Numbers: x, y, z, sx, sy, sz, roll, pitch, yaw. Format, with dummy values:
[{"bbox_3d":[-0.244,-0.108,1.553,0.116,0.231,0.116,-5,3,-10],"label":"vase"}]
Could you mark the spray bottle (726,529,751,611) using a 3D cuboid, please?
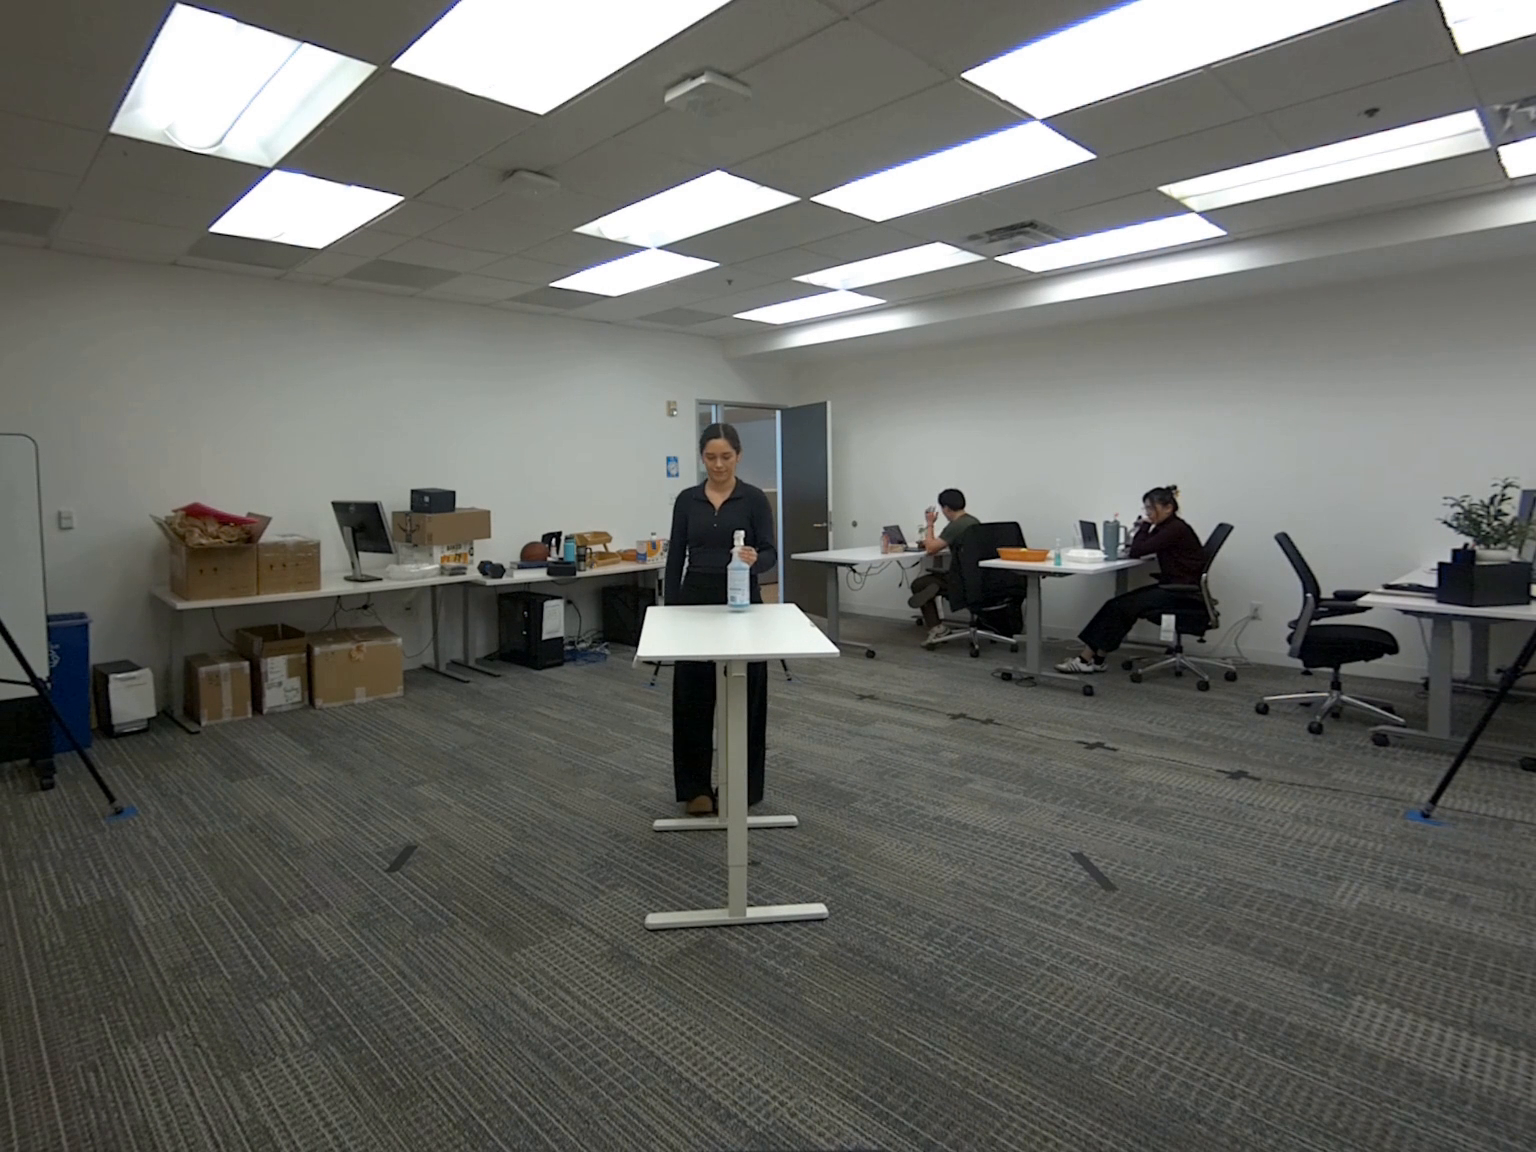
[{"bbox_3d":[-0.121,-0.025,3.322,0.088,0.296,0.090,1,5,7],"label":"spray bottle"}]
